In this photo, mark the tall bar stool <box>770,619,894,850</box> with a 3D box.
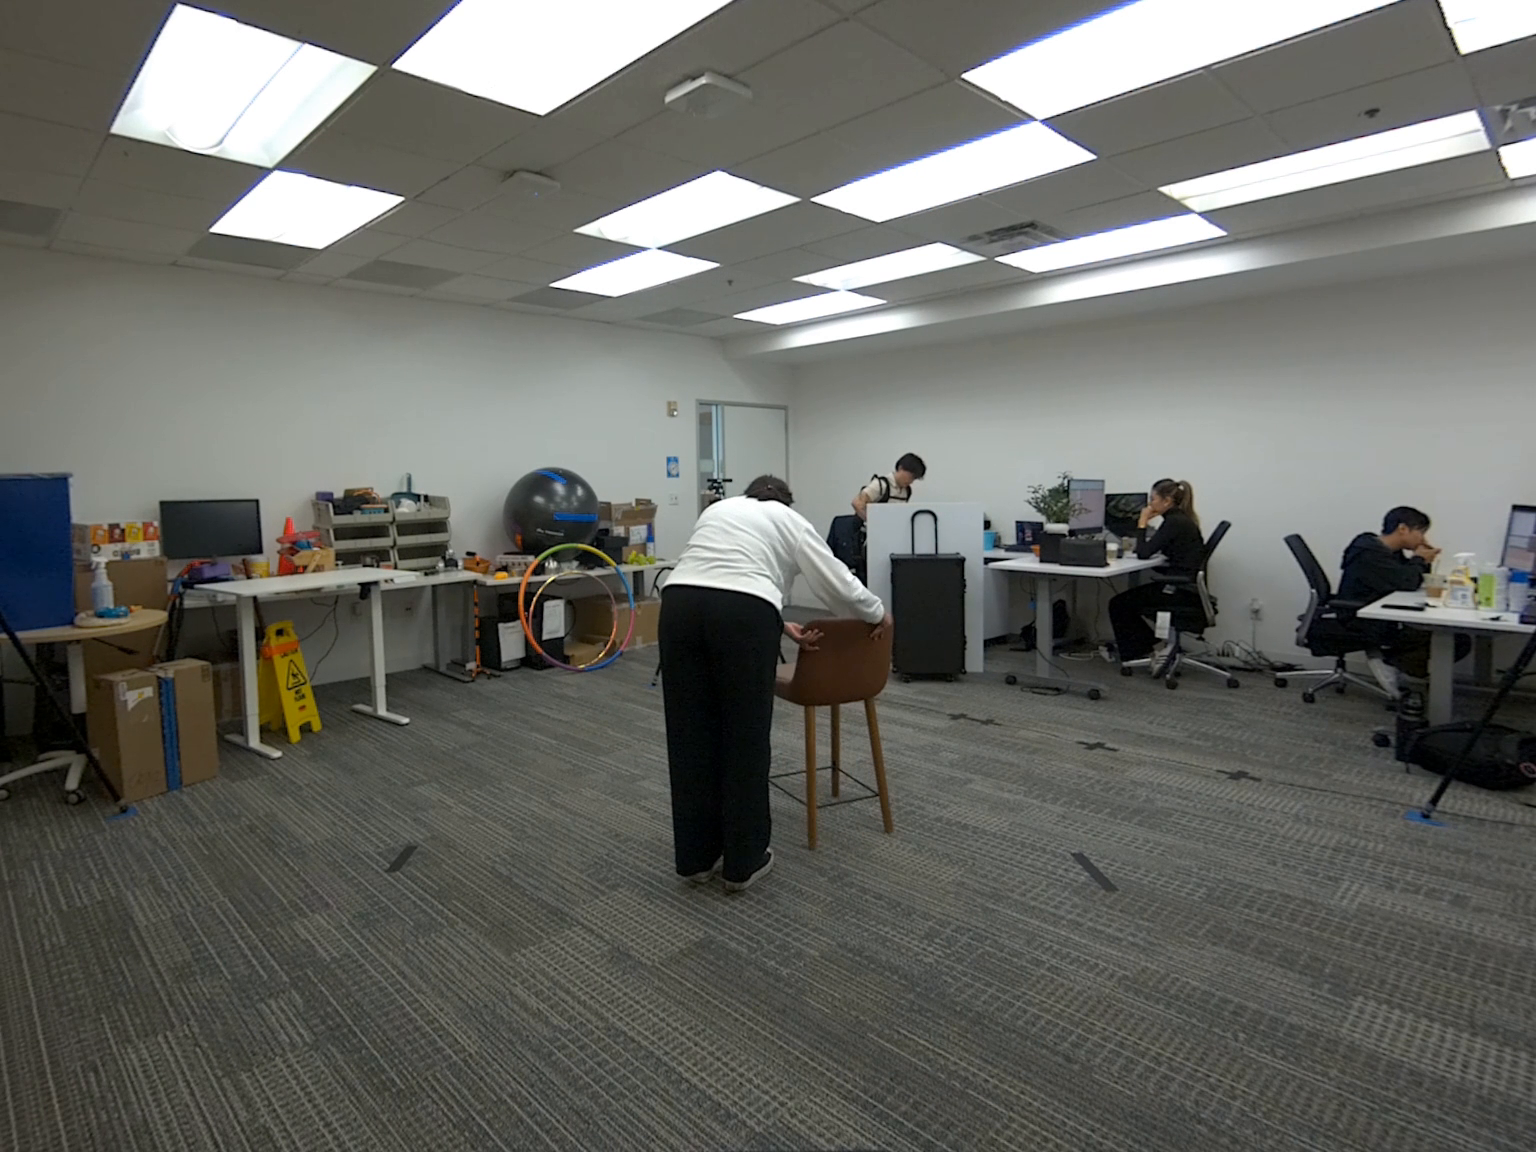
[{"bbox_3d":[0.224,0.563,3.463,0.447,0.885,0.480,-2,6,-26],"label":"tall bar stool"}]
